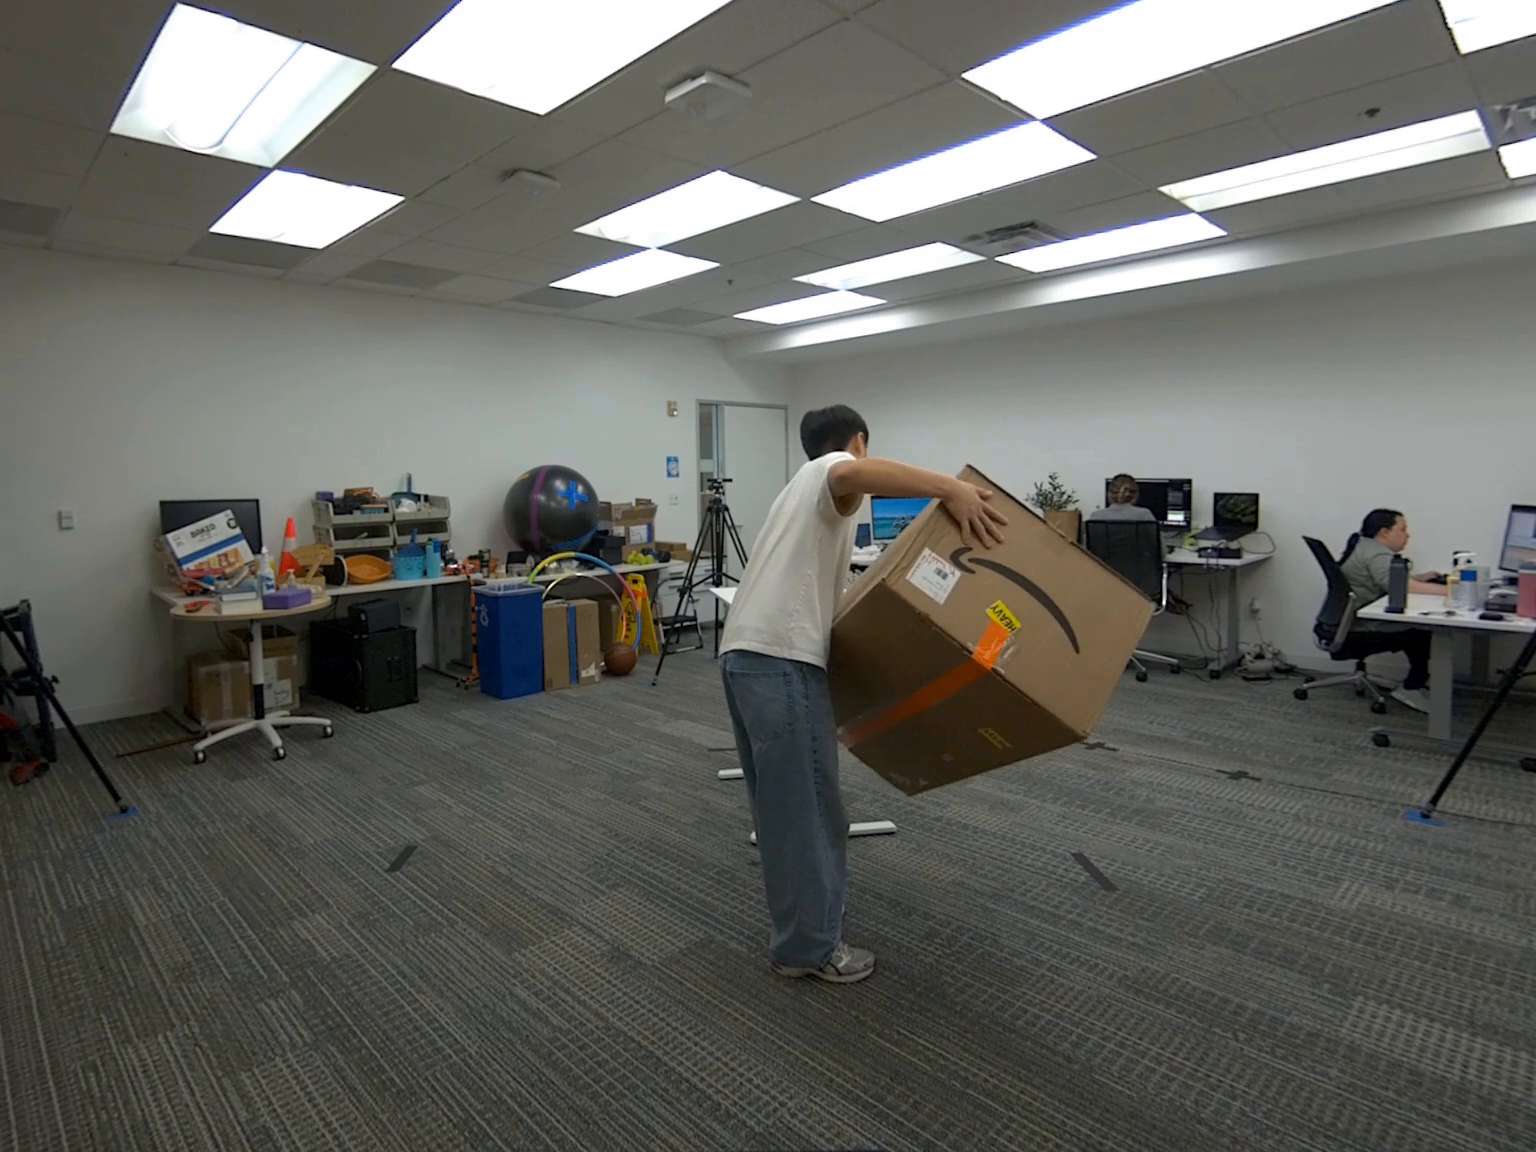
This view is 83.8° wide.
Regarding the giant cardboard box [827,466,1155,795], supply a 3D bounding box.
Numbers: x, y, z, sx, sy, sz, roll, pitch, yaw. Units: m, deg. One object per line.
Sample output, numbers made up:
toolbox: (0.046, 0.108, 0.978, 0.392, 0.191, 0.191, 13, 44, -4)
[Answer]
giant cardboard box: (0.482, 0.225, 2.458, 0.426, 0.582, 1.018, -48, -4, -25)
